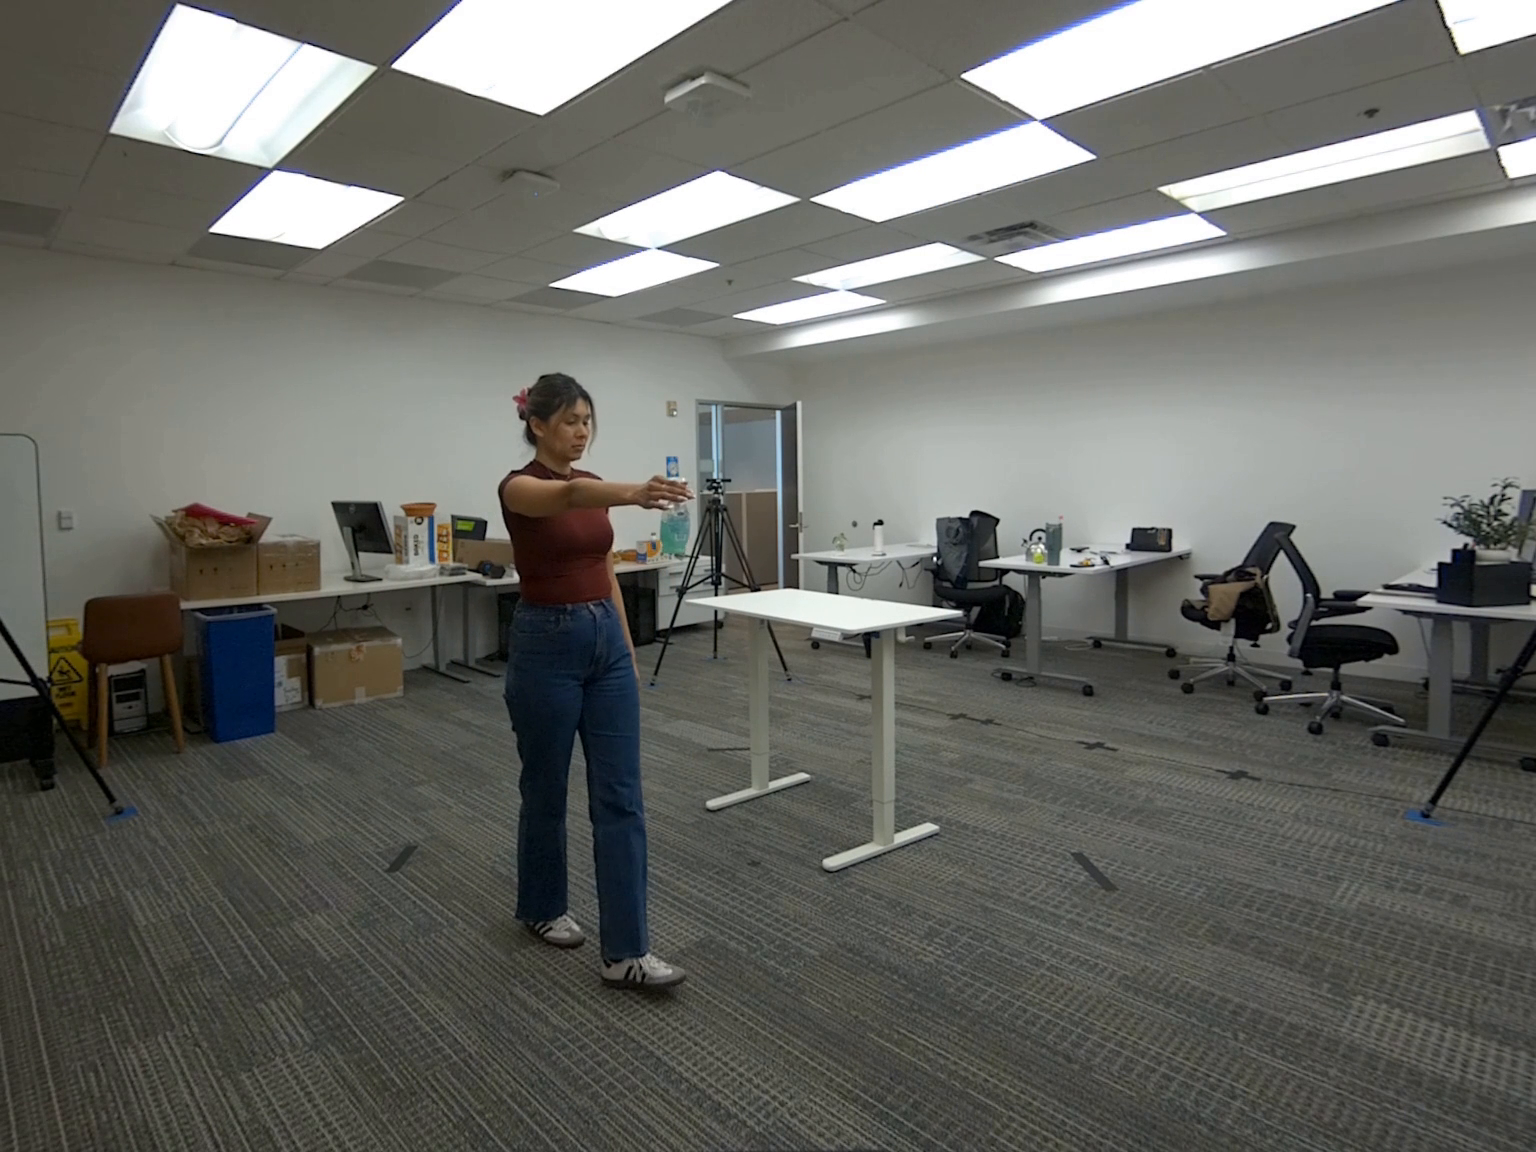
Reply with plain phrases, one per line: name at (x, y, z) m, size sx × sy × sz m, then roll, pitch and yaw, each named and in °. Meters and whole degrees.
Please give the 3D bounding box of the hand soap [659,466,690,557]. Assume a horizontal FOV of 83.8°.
hand soap at (-0.200, -0.135, 1.878) m, size 0.044 × 0.168 × 0.082 m, roll 4°, pitch 2°, yaw 30°
